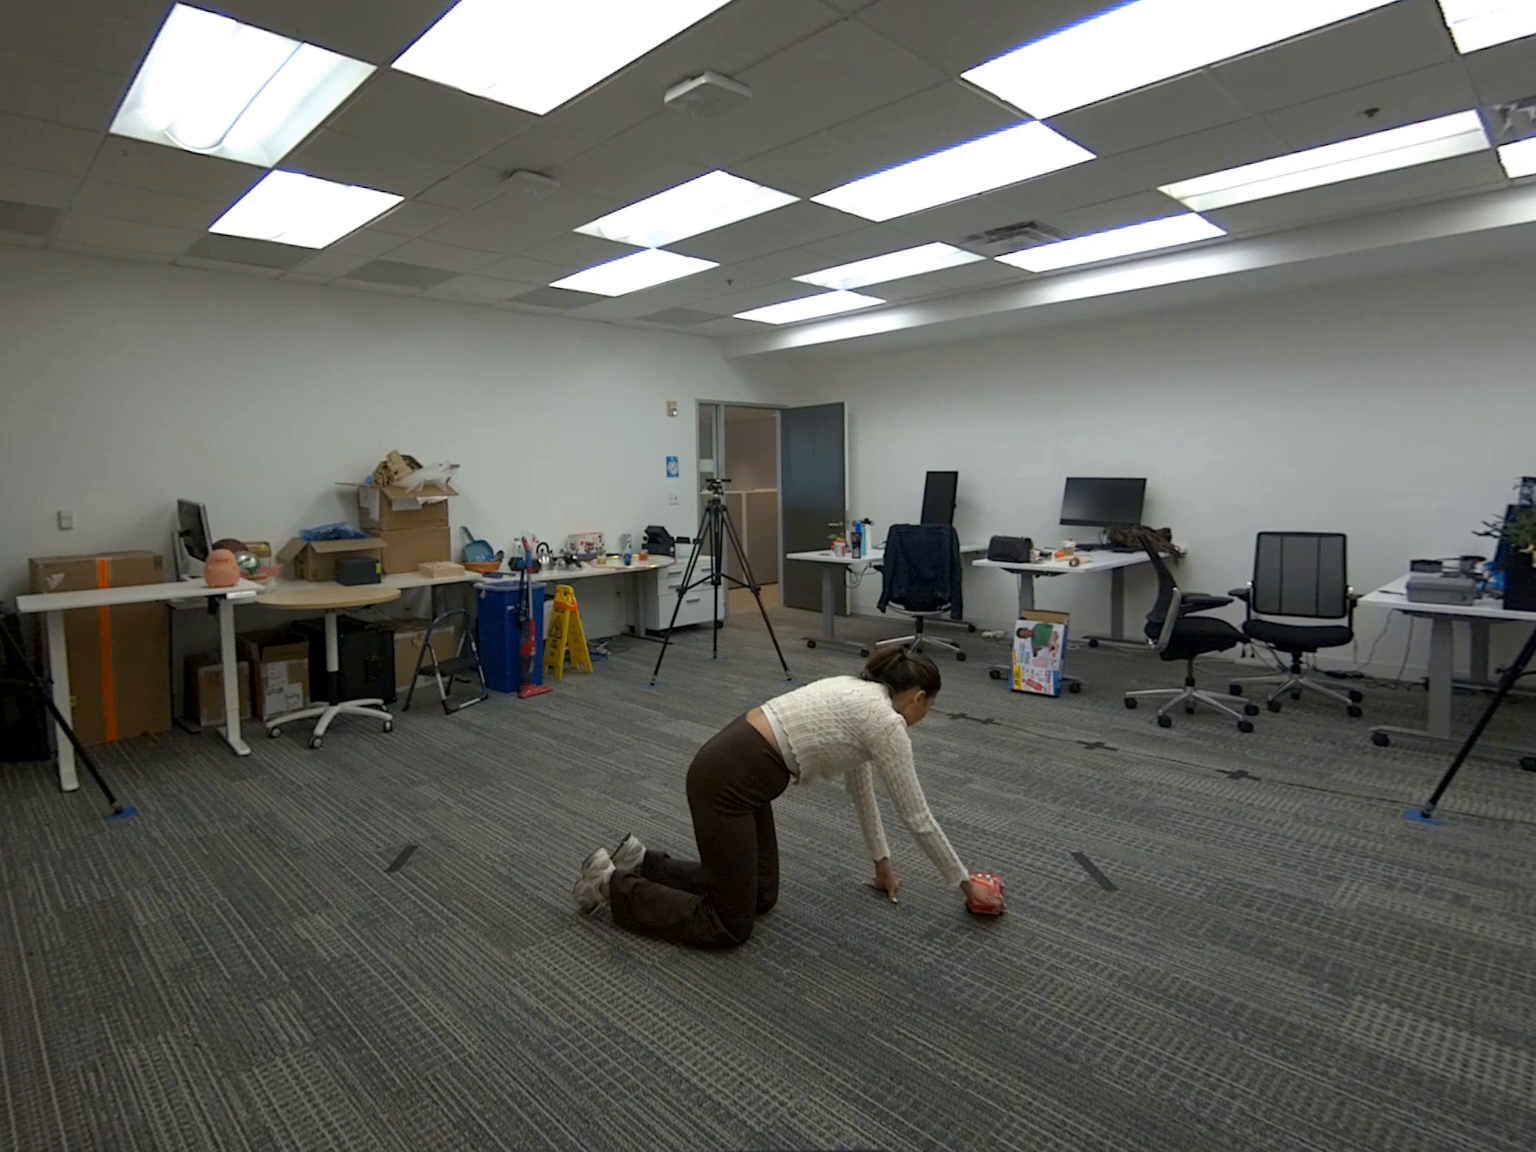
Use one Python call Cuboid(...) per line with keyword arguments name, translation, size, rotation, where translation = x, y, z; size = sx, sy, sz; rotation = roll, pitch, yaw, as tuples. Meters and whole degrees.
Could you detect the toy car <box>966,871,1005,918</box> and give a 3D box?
Cuboid(name="toy car", translation=(0.705, 1.034, 2.781), size=(0.132, 0.083, 0.250), rotation=(1, -4, 14))
